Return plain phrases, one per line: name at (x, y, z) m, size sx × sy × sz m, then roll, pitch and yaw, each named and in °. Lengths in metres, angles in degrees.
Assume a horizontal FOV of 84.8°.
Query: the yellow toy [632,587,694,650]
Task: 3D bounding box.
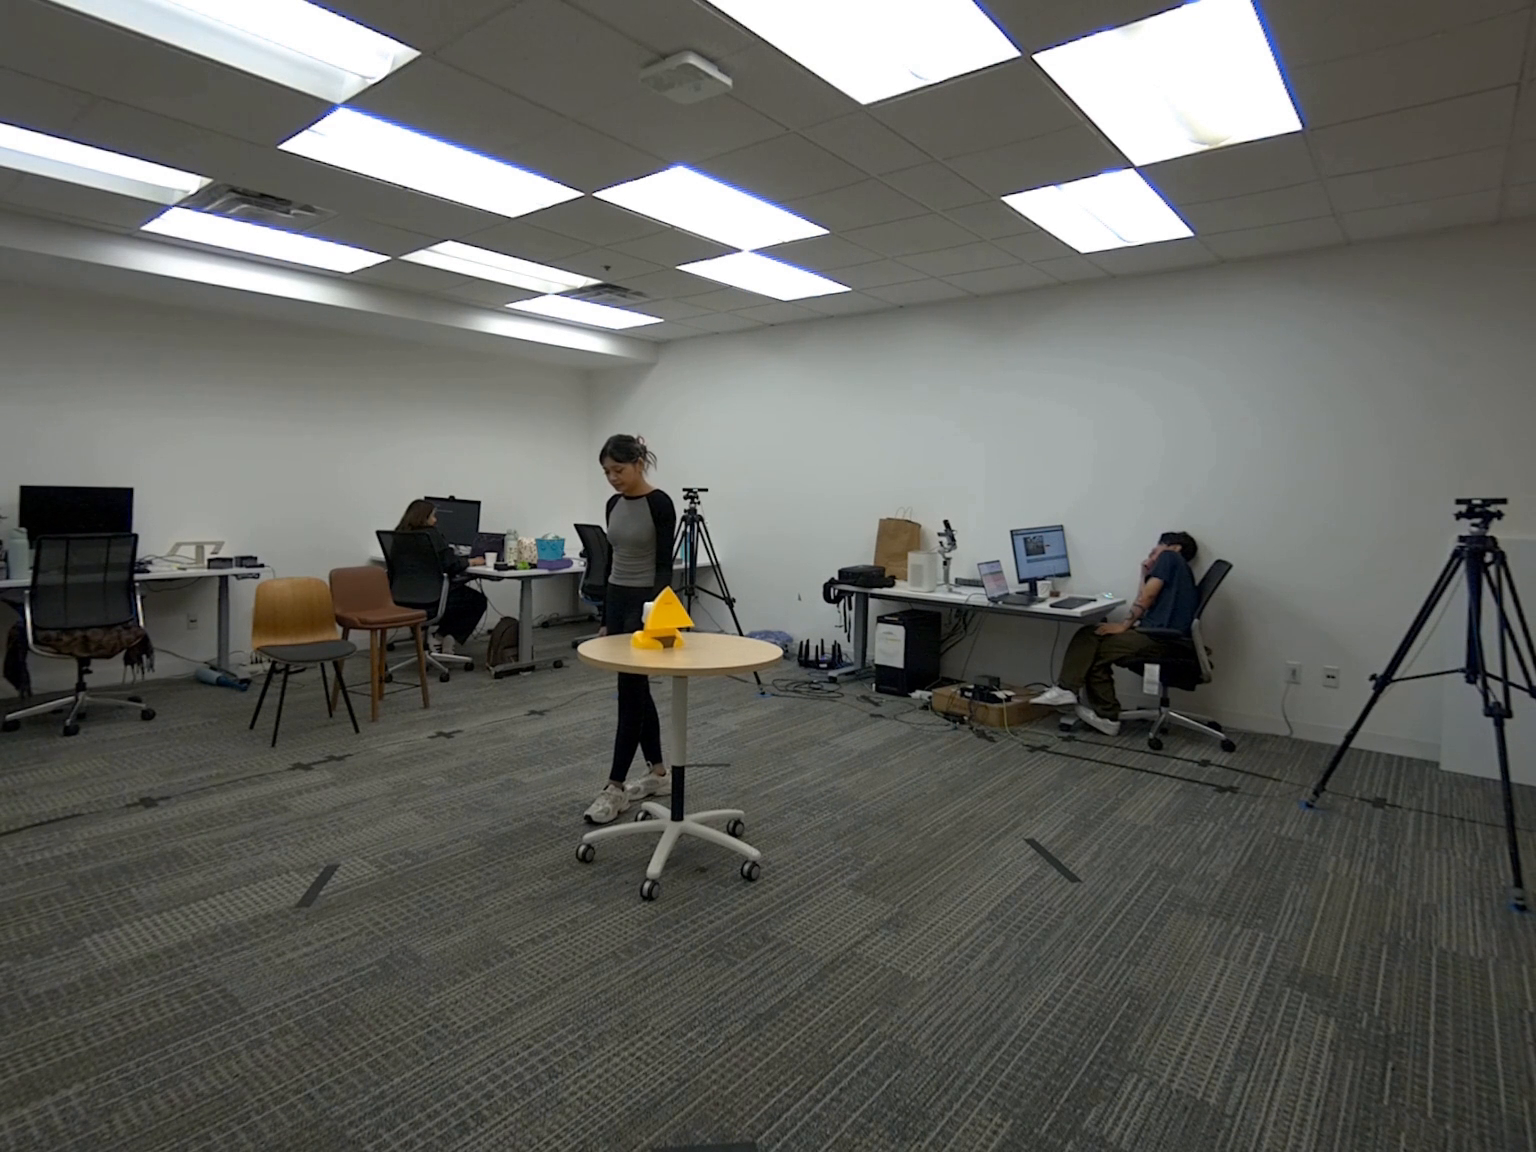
yellow toy at (-0.424, 0.147, 3.243) m, size 0.198 × 0.230 × 0.199 m, roll 1°, pitch 2°, yaw -38°
